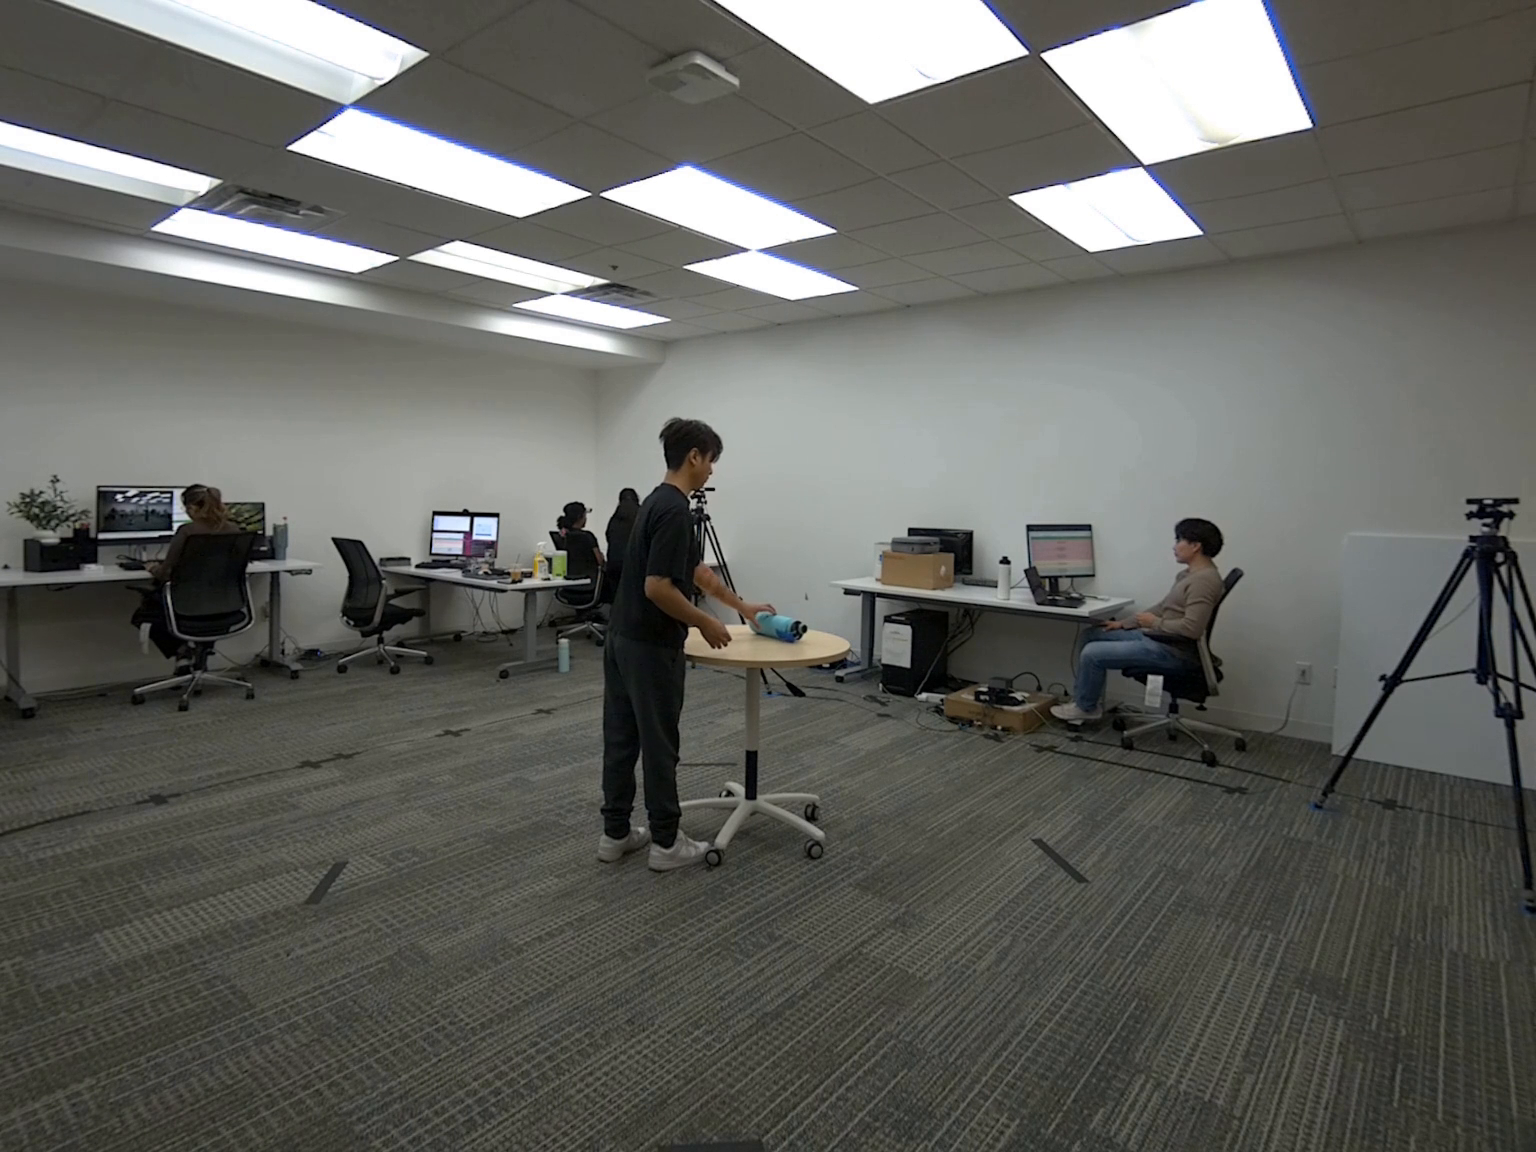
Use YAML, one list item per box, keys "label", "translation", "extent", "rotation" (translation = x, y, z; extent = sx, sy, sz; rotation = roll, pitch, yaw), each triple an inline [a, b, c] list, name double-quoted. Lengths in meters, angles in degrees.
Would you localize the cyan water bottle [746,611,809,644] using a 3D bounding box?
- label: "cyan water bottle"
  translation: [0.035, 0.204, 3.476]
  extent: [0.089, 0.092, 0.293]
  rotation: [-2, 7, -38]
